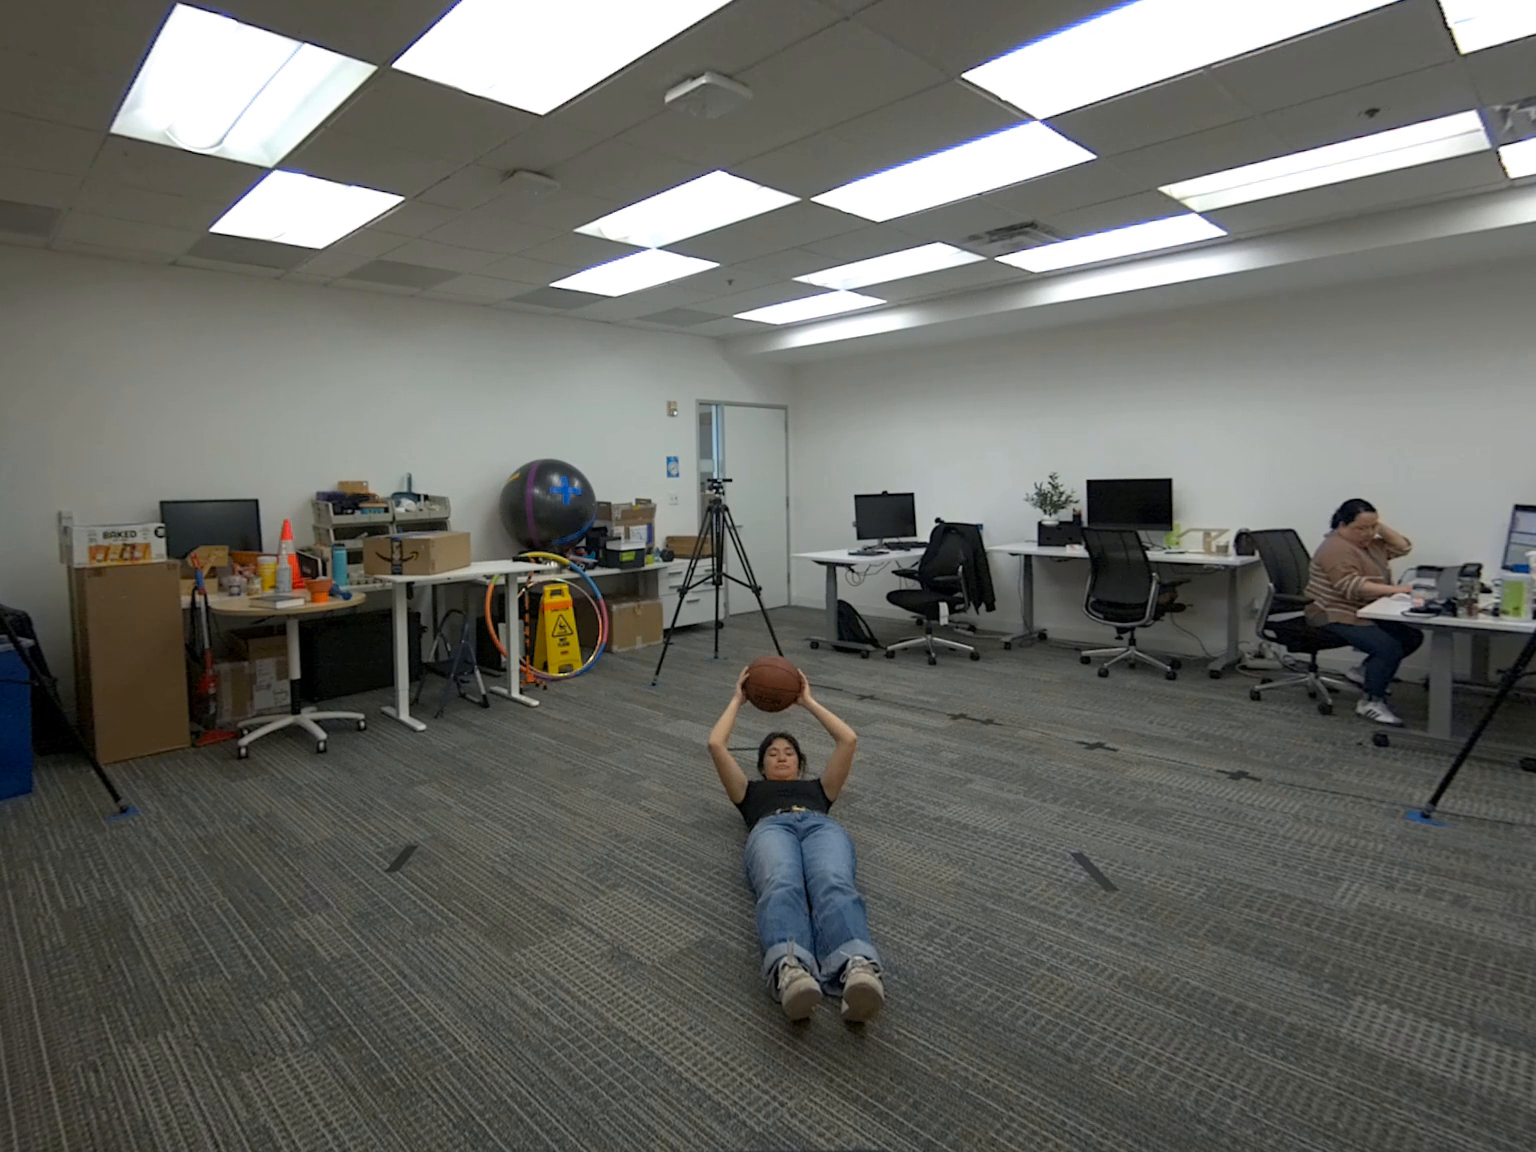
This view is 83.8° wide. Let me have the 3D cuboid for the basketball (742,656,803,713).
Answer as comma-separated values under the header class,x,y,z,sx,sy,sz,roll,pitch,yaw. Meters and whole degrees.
class,x,y,z,sx,sy,sz,roll,pitch,yaw
basketball,0.016,0.455,3.584,0.236,0.235,0.237,-1,5,-2
